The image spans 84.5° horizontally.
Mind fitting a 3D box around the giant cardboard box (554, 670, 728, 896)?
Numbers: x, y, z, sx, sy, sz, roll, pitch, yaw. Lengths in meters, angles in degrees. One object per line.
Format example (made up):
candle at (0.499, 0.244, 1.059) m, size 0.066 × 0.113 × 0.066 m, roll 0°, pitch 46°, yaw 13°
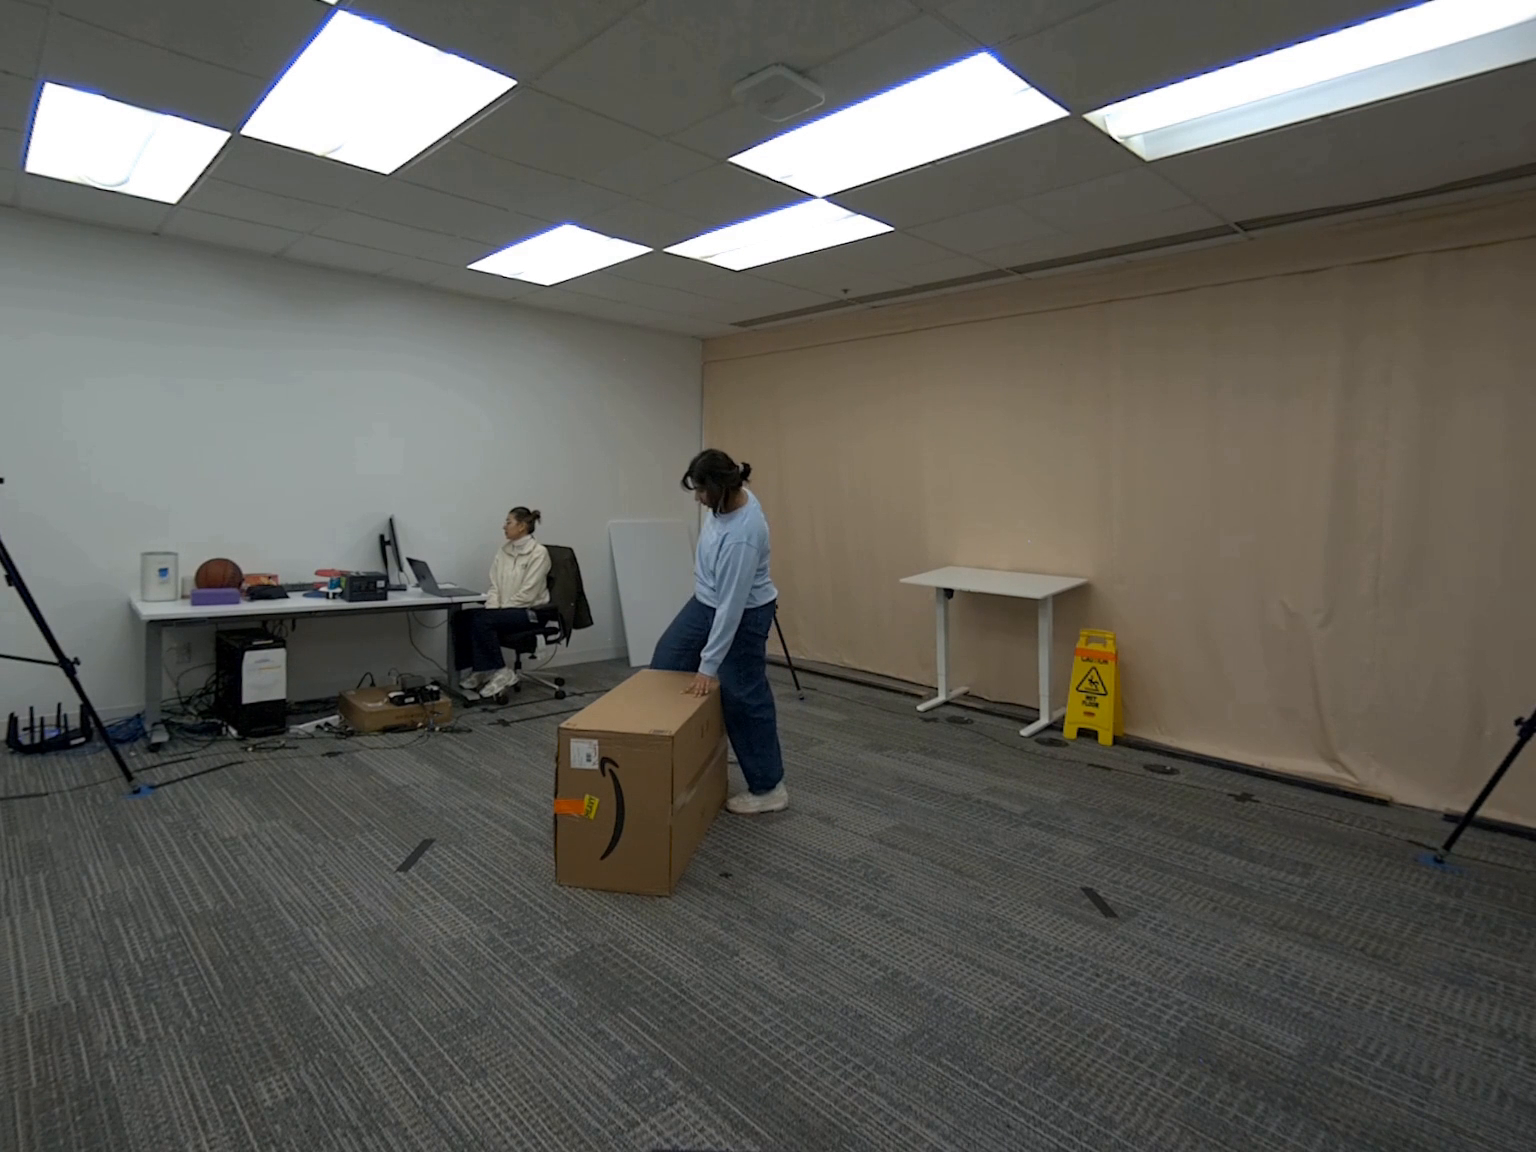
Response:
giant cardboard box at (-0.485, 0.780, 3.438) m, size 0.430 × 0.576 × 1.020 m, roll 2°, pitch 4°, yaw 9°
